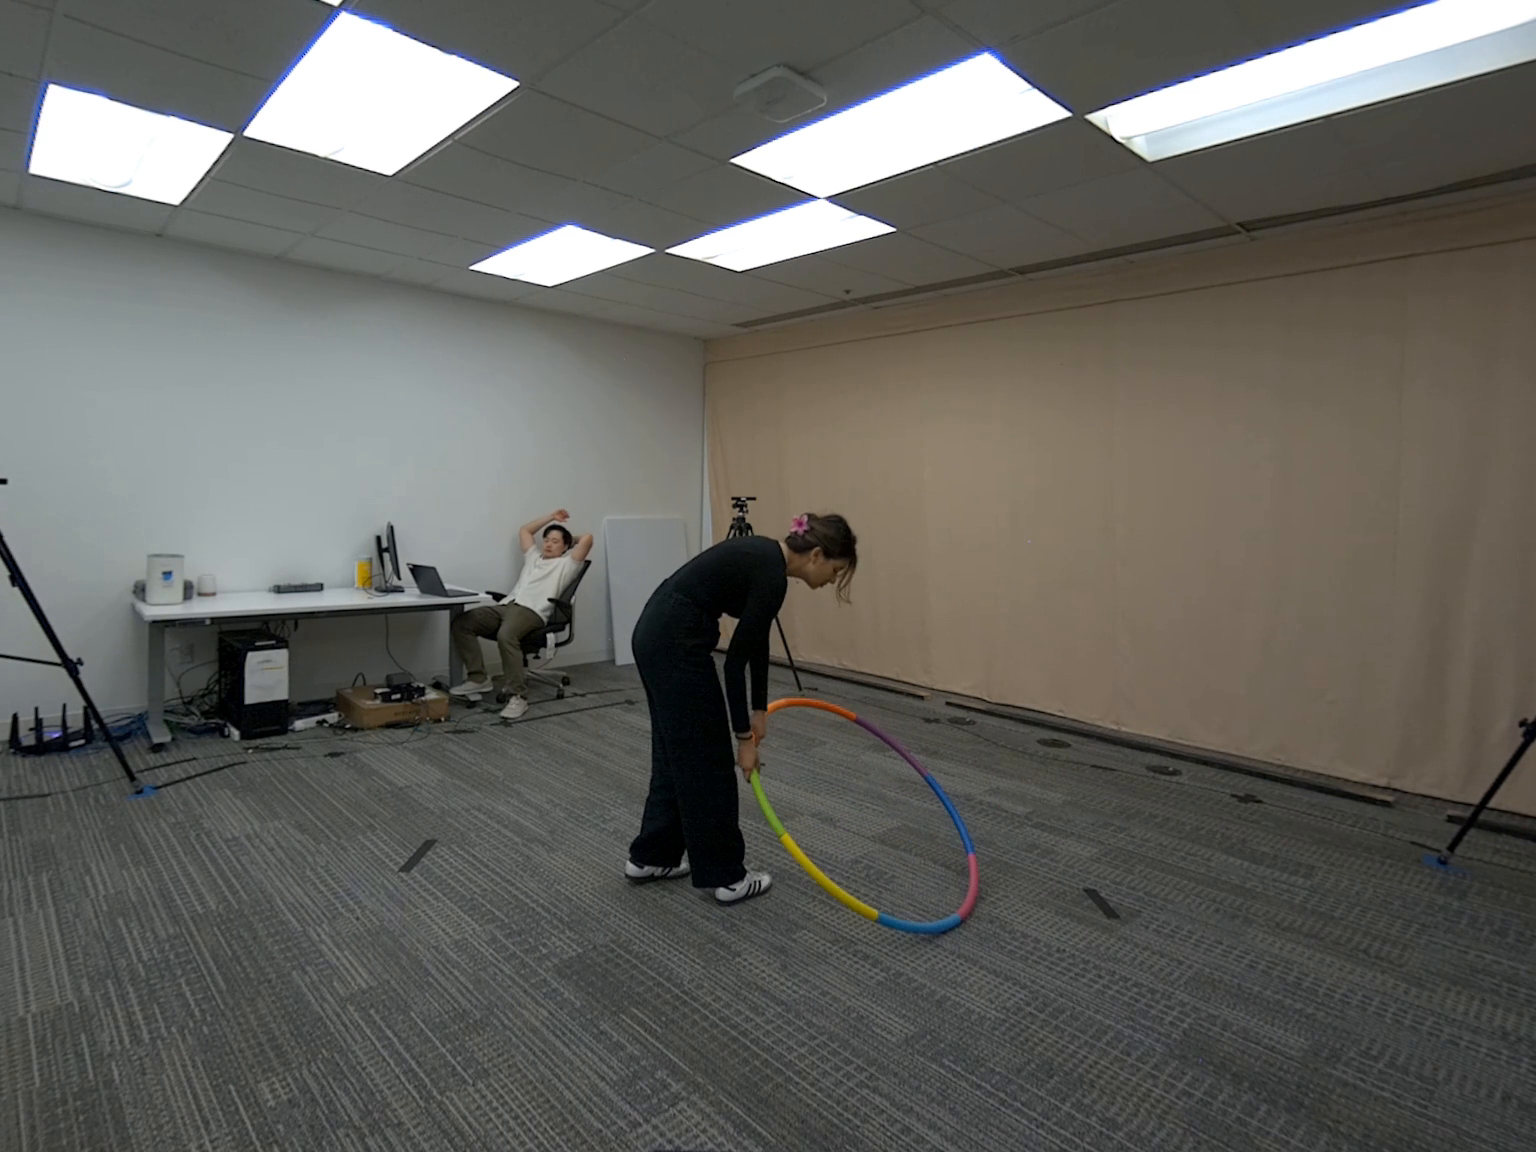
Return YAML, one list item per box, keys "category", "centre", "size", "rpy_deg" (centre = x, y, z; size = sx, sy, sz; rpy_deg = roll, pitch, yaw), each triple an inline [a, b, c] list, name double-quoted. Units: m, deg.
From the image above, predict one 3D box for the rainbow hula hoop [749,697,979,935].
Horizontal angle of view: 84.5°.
- category: "rainbow hula hoop"
  centre: [0.345, 0.825, 3.036]
  size: [0.964, 0.035, 0.997]
  rpy_deg: [26, 26, -15]
